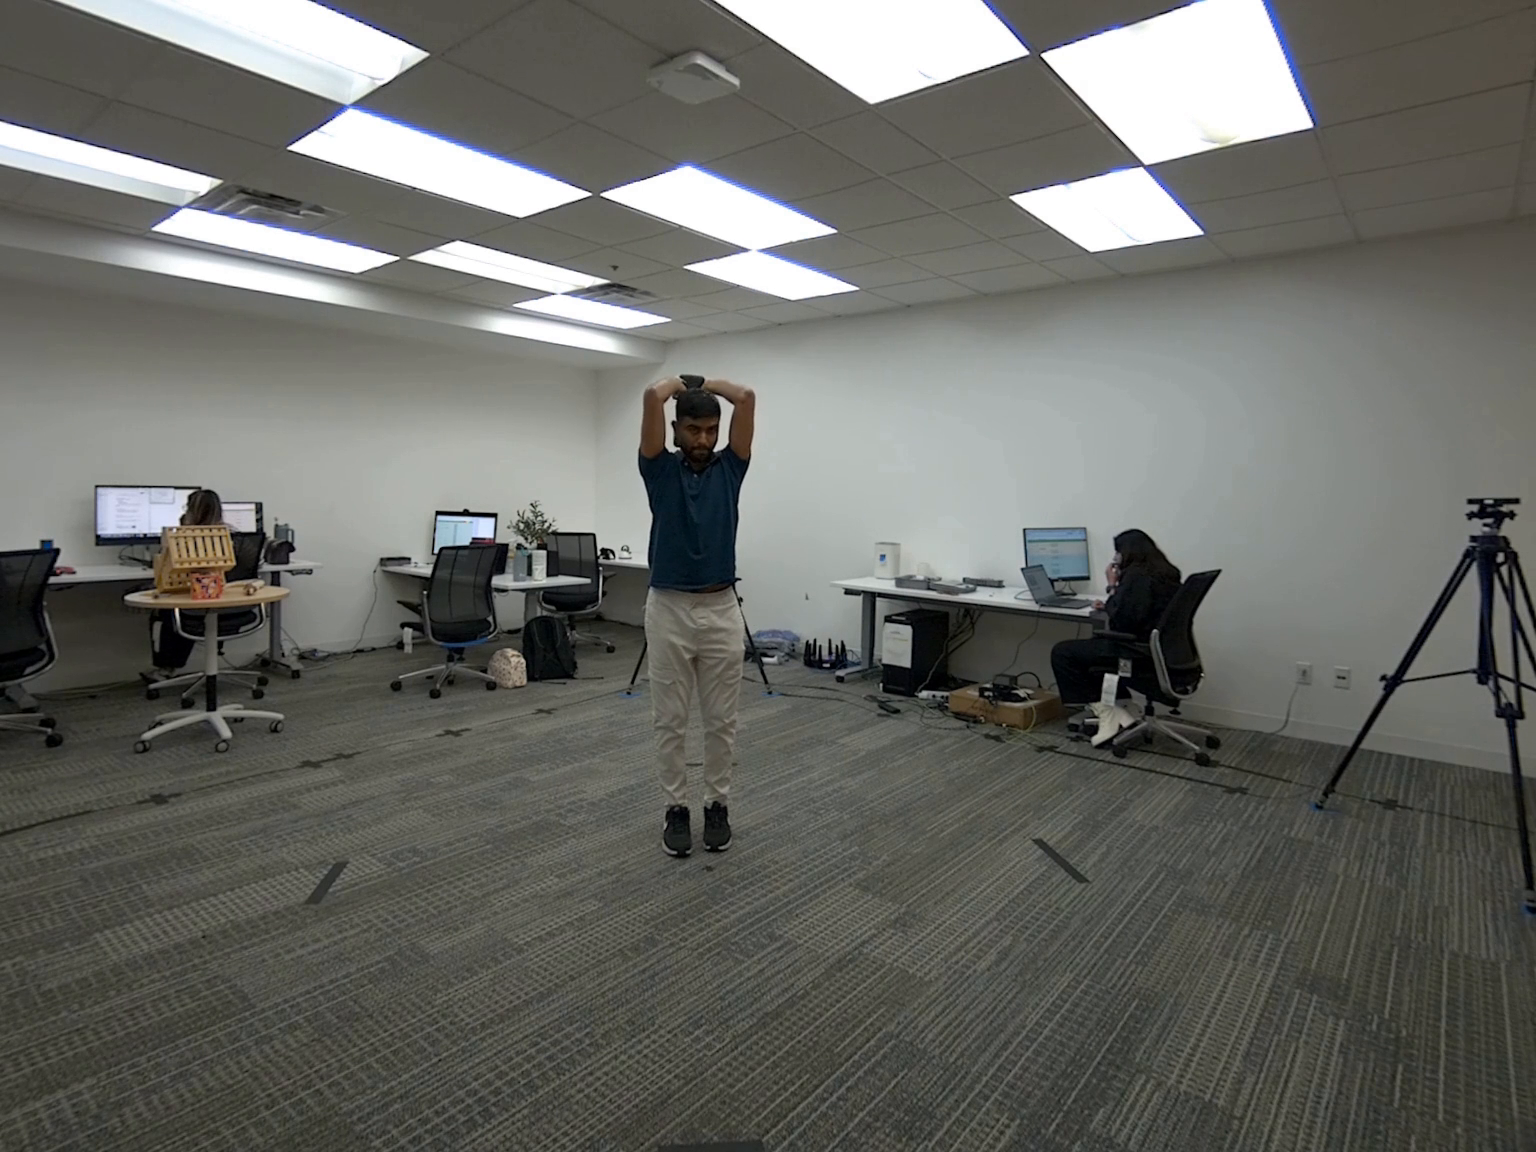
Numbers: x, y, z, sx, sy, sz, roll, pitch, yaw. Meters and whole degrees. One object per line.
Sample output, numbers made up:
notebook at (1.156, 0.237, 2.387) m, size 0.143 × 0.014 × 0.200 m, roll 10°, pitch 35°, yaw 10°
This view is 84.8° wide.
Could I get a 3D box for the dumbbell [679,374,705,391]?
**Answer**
dumbbell at (-0.334, -0.668, 3.439) m, size 0.108 × 0.292 × 0.125 m, roll -1°, pitch 6°, yaw -9°
